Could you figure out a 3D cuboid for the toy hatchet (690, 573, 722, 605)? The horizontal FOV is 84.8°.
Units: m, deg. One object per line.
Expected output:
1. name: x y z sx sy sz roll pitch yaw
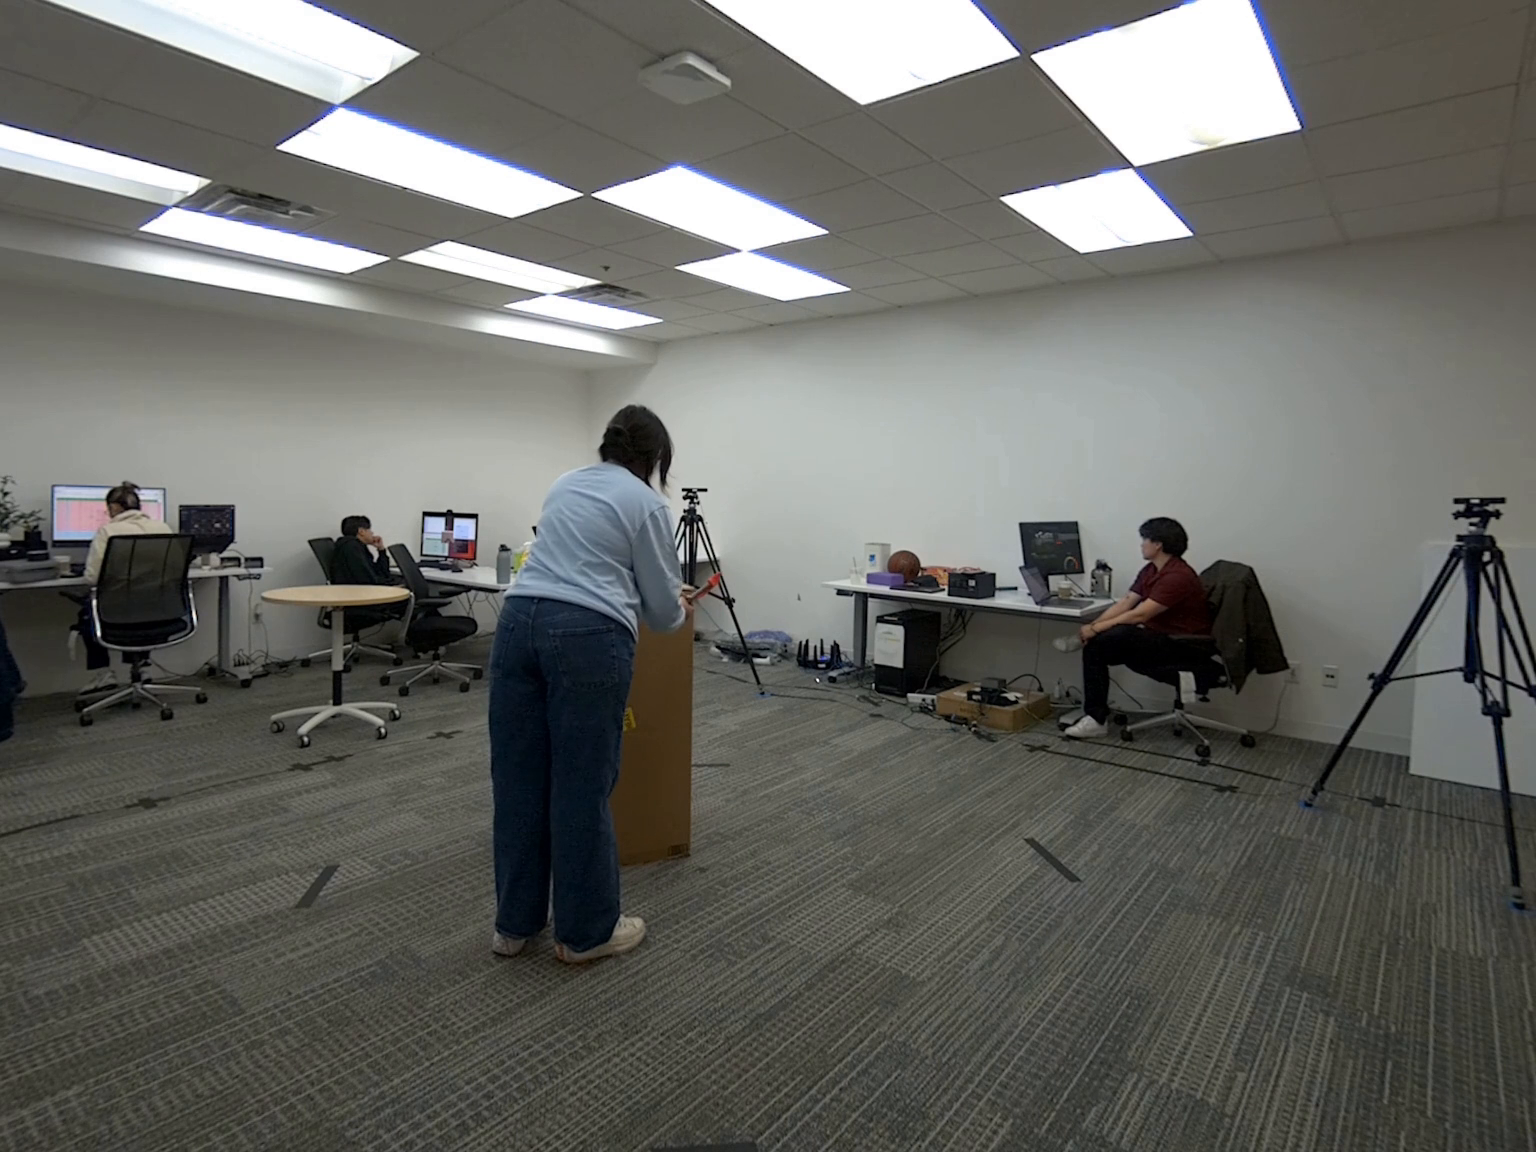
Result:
1. toy hatchet: -0.283 0.078 2.998 0.268 0.030 0.130 -39 -8 -27
